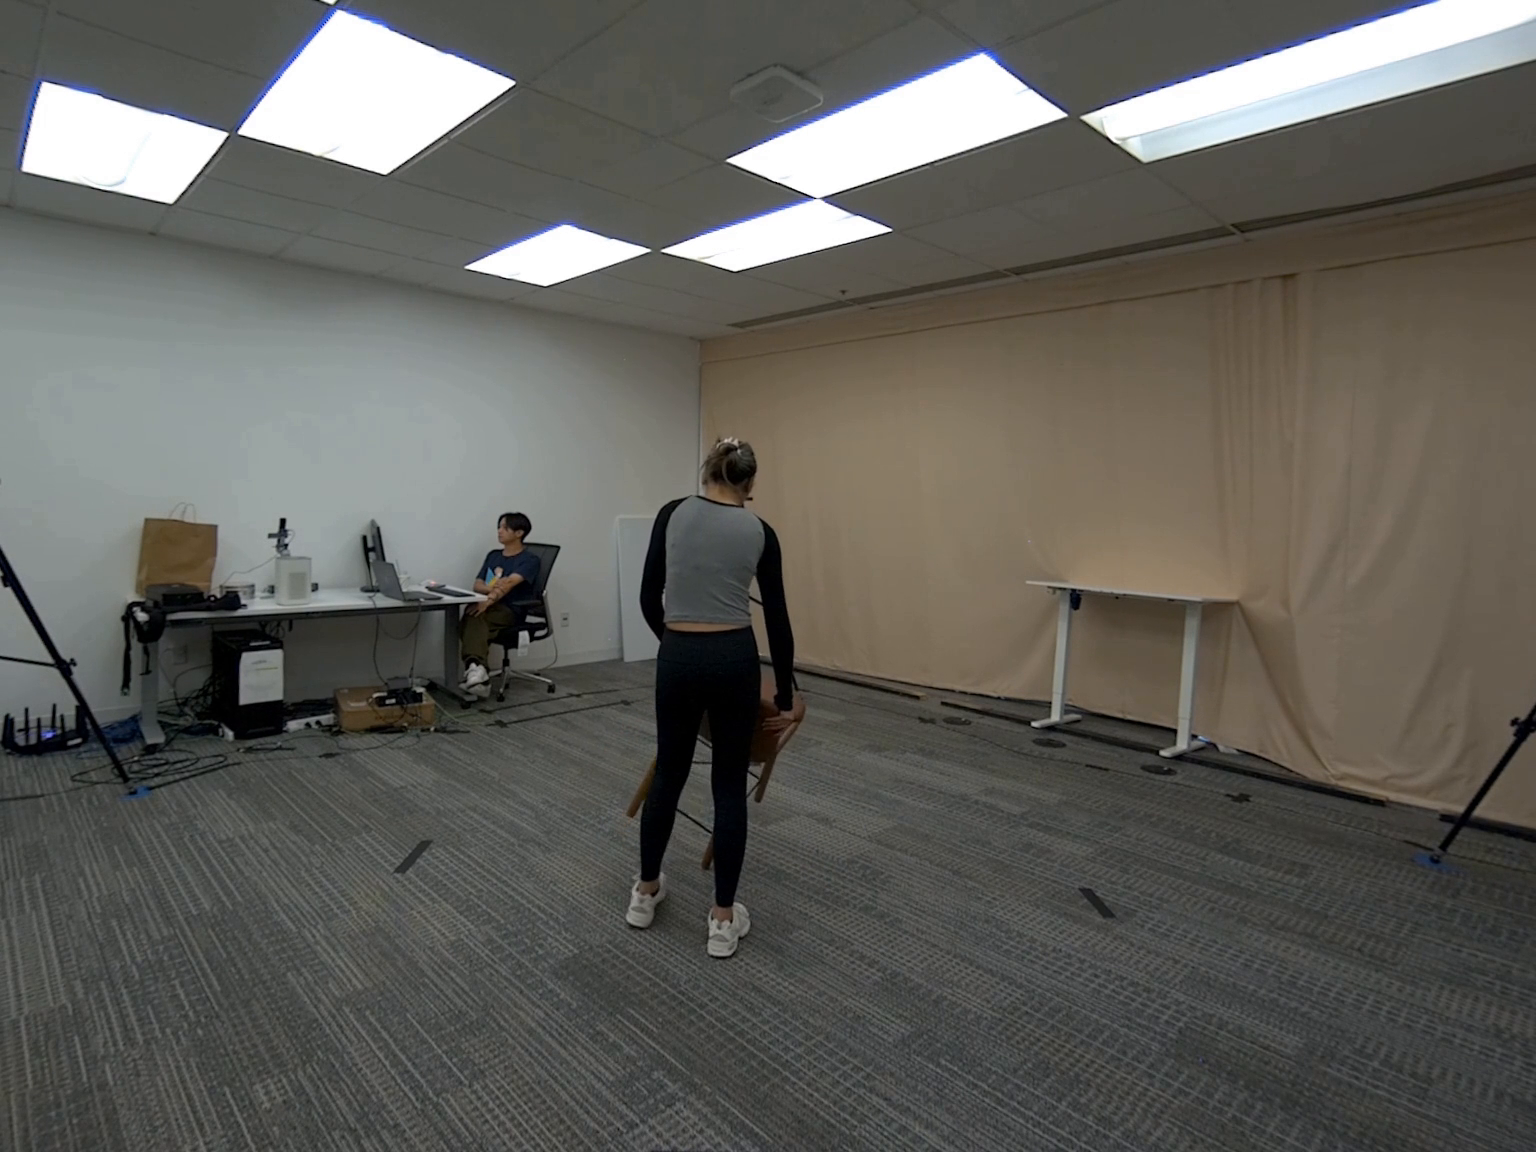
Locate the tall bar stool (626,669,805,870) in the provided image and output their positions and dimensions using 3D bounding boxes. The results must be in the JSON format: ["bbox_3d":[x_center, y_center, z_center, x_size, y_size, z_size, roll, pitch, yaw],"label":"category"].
[{"bbox_3d":[-0.169,0.596,3.153,0.464,0.879,0.465,31,35,14],"label":"tall bar stool"}]
